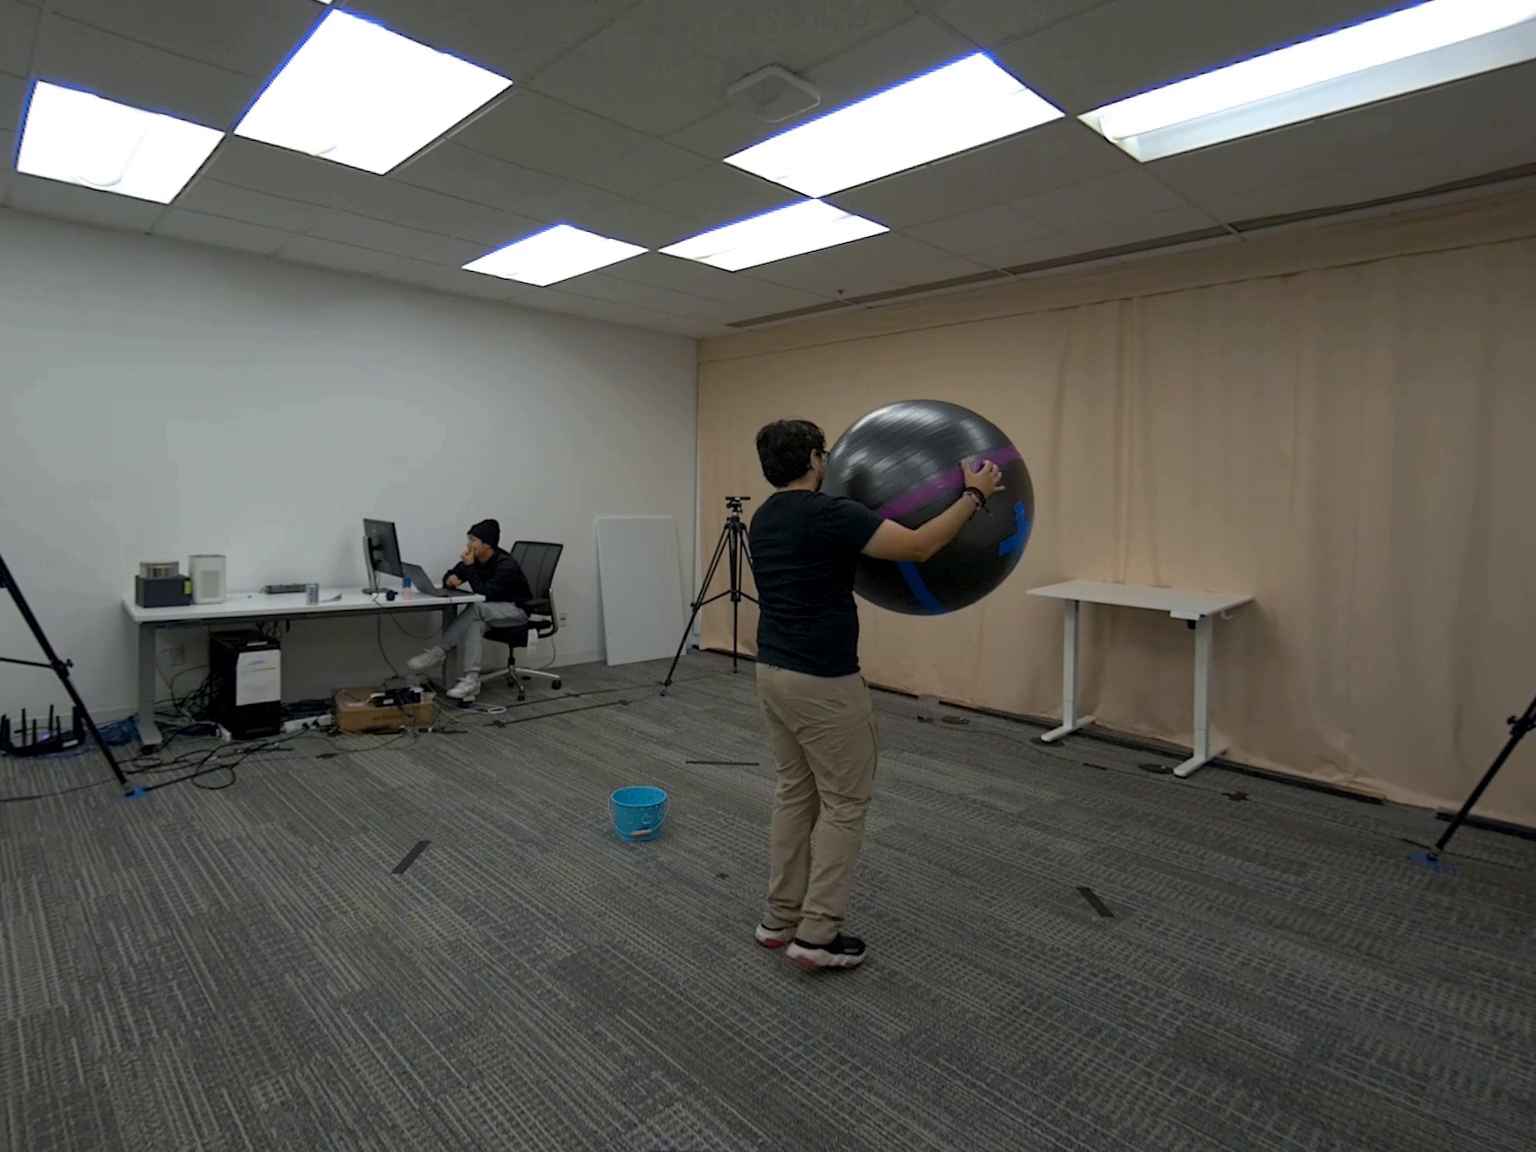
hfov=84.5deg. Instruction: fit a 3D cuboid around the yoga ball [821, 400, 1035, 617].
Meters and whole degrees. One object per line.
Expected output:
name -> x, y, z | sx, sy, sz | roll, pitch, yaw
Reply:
yoga ball -> 0.538, -0.234, 2.973 | 0.757, 0.756, 0.761 | 1, 4, -1
